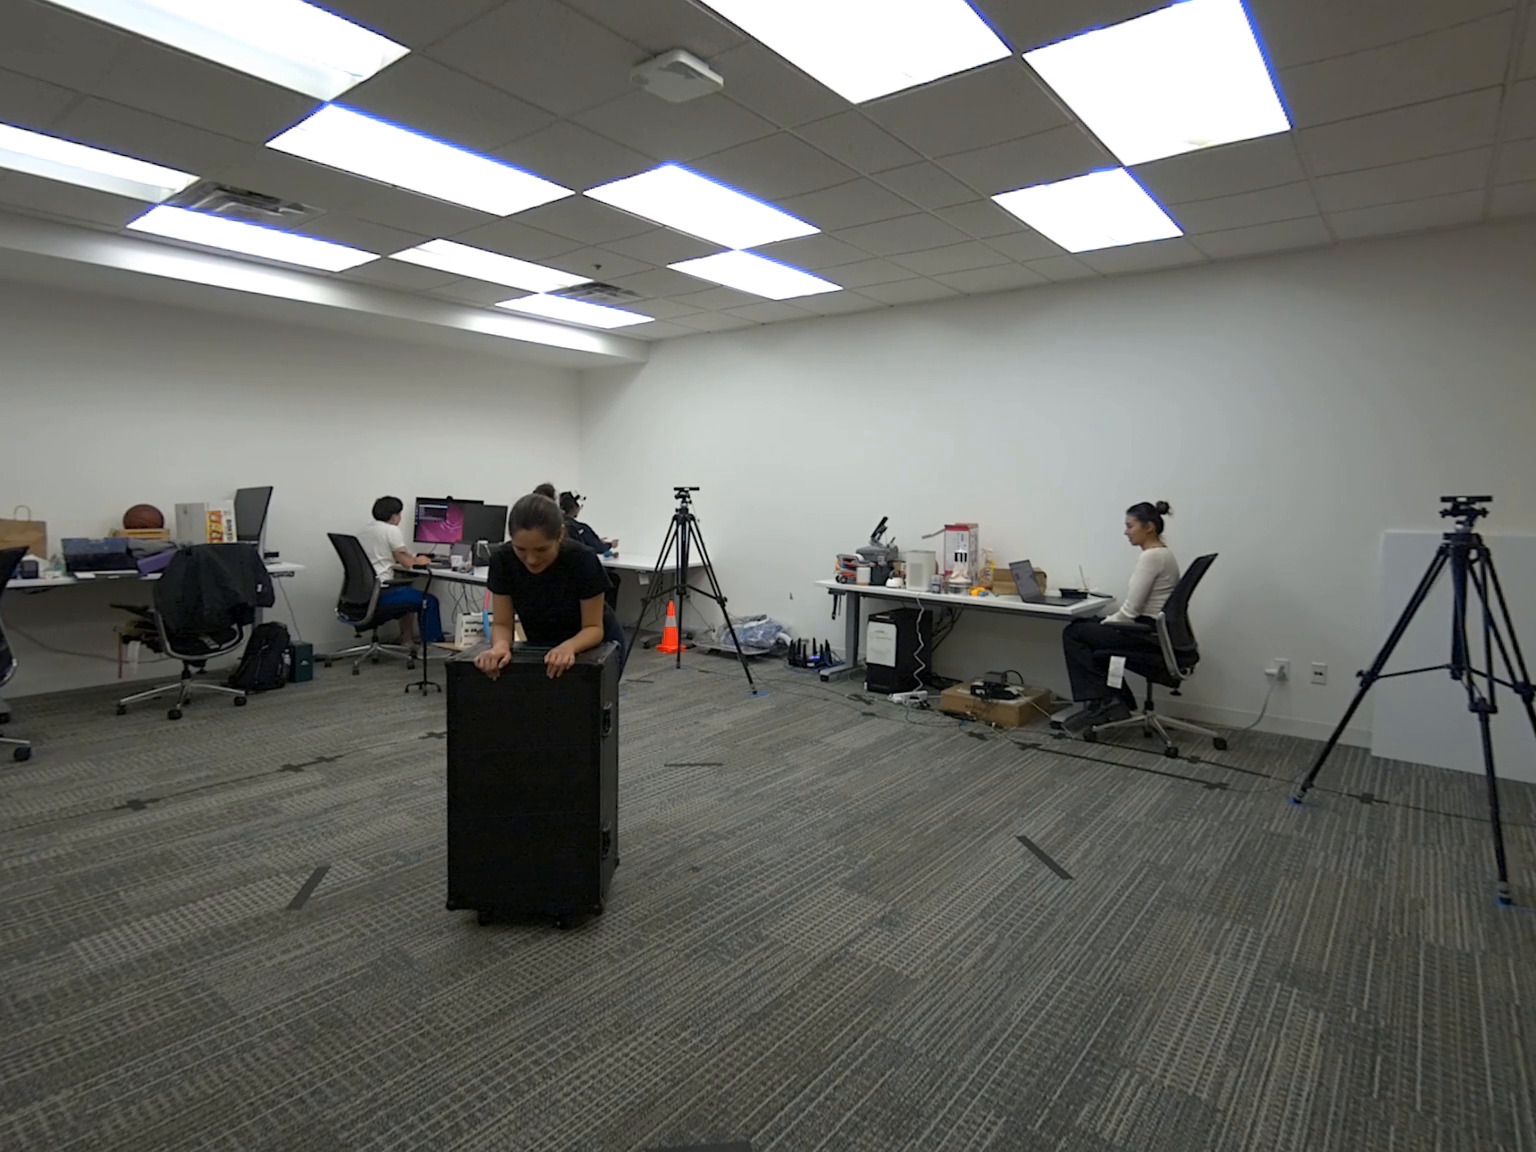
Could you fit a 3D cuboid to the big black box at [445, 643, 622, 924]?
[{"bbox_3d":[-0.737,0.602,2.808,0.522,0.858,0.397,1,4,1],"label":"big black box"}]
